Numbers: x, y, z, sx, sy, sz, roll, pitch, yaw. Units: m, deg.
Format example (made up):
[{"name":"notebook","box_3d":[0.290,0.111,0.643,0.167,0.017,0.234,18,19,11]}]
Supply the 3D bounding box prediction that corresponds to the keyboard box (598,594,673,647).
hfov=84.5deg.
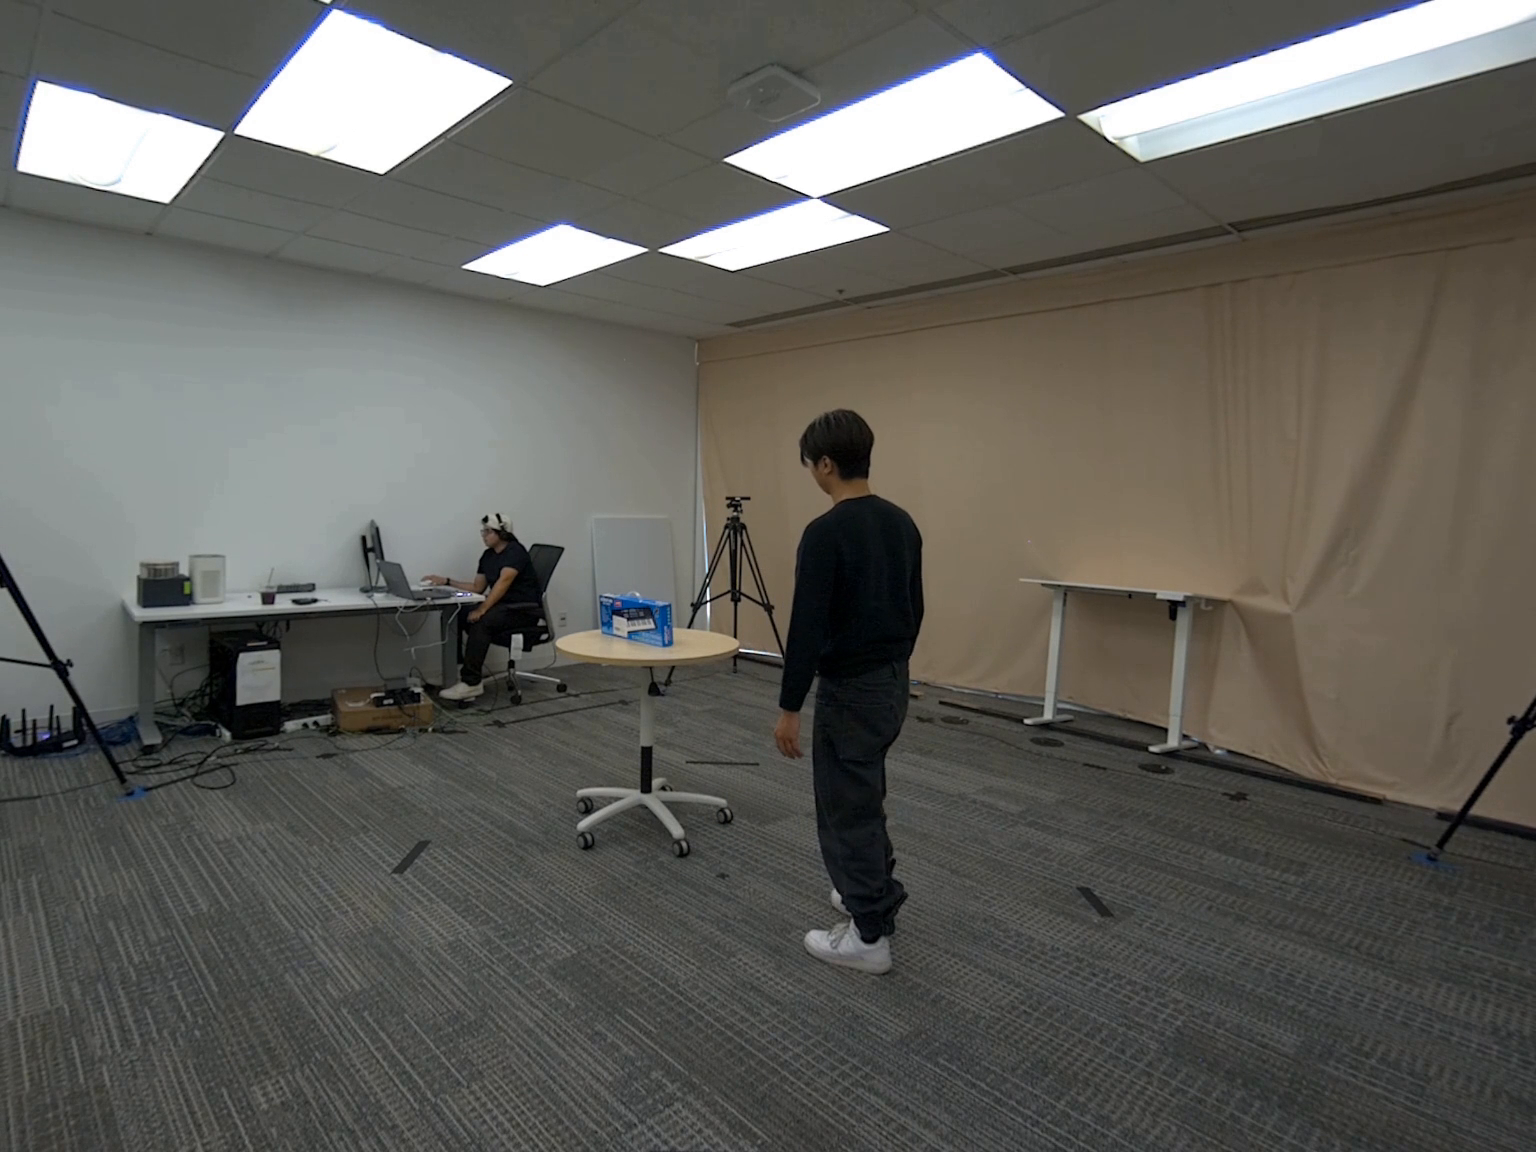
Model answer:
[{"name":"keyboard box","box_3d":[-0.573,0.184,3.581,0.058,0.175,0.448,-8,10,-44]}]
